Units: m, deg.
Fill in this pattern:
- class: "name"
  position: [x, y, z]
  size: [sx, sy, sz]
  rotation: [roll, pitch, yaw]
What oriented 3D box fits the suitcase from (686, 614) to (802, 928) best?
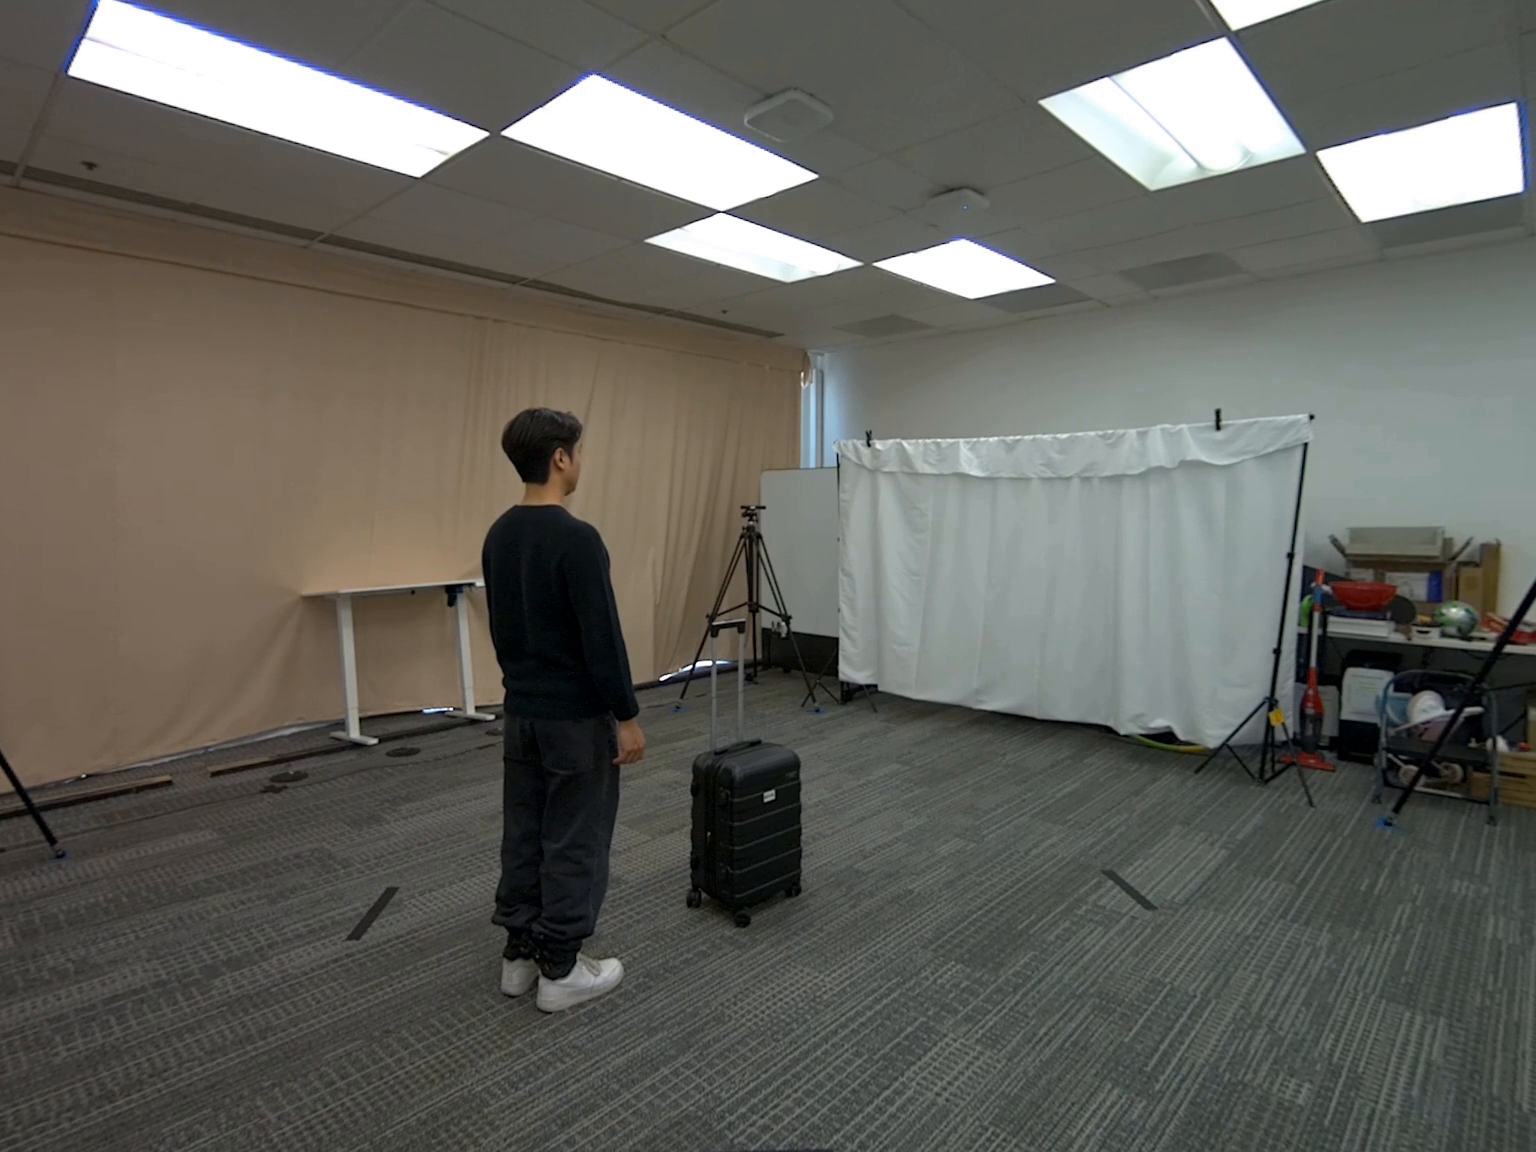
- class: "suitcase"
  position: [-0.066, 0.668, 2.943]
  size: [0.266, 0.976, 0.372]
  rotation: [5, 6, 44]
